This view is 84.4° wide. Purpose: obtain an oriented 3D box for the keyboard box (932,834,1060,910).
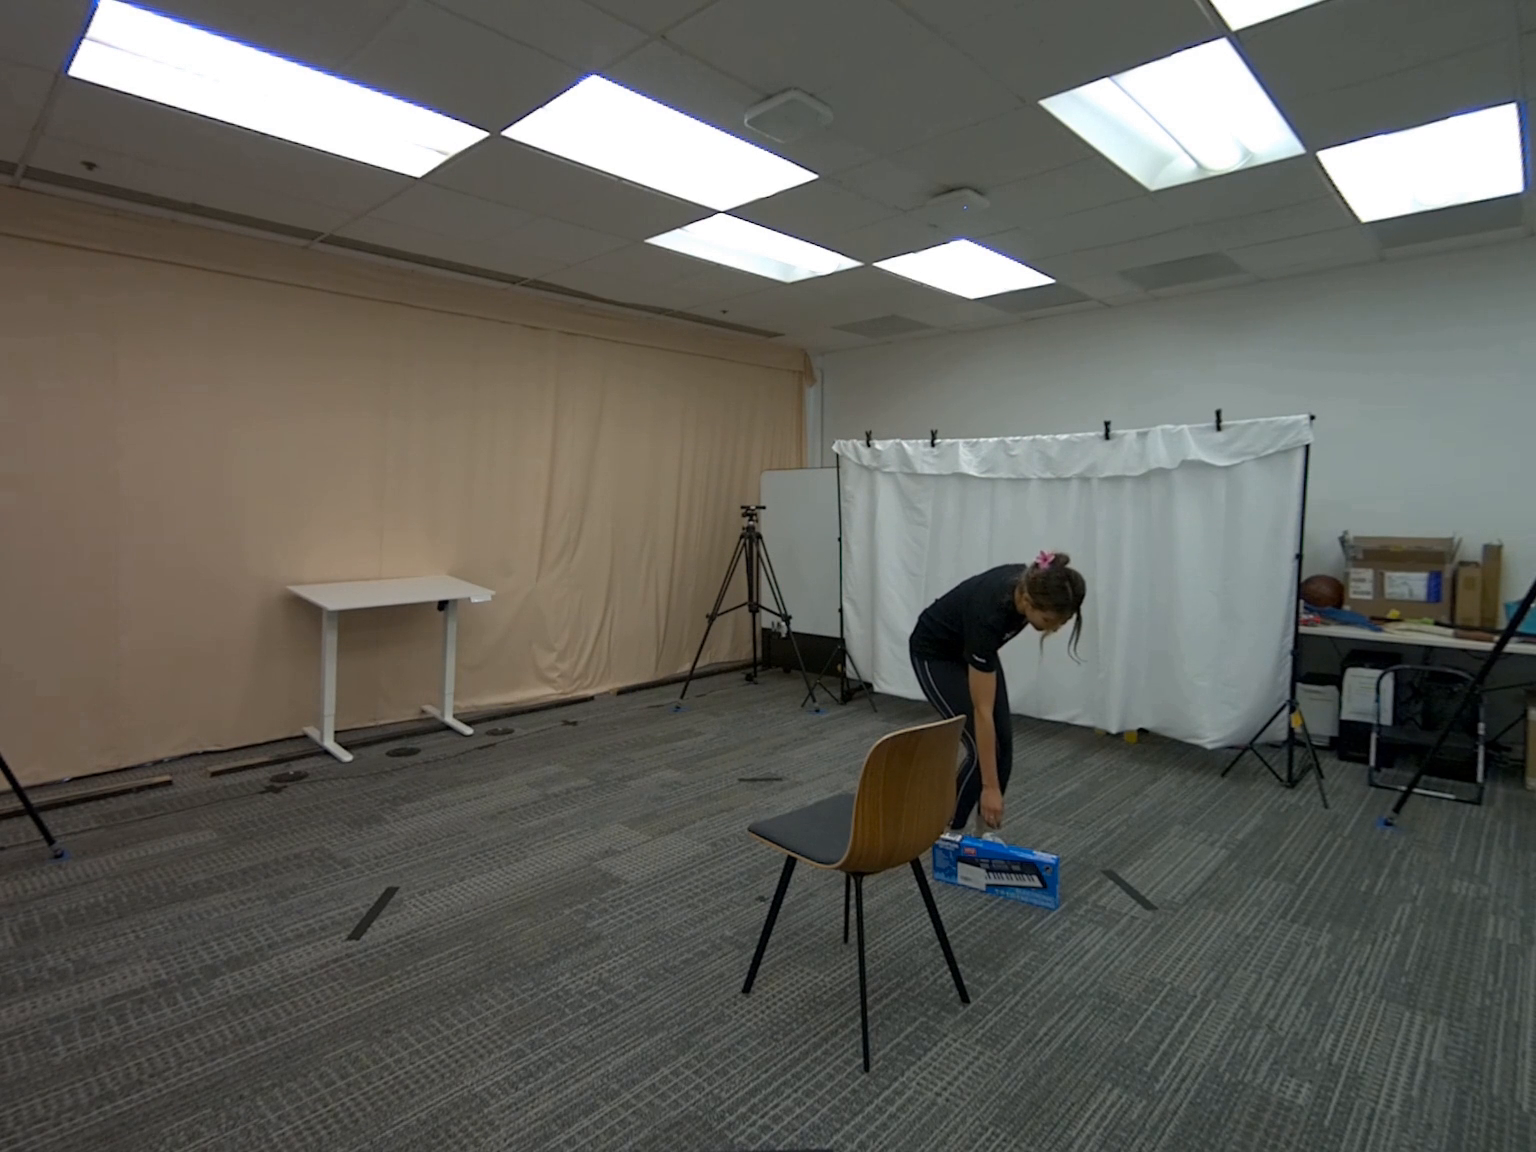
[{"bbox_3d":[0.815,1.051,3.024,0.450,0.175,0.058,2,10,33],"label":"keyboard box"}]
